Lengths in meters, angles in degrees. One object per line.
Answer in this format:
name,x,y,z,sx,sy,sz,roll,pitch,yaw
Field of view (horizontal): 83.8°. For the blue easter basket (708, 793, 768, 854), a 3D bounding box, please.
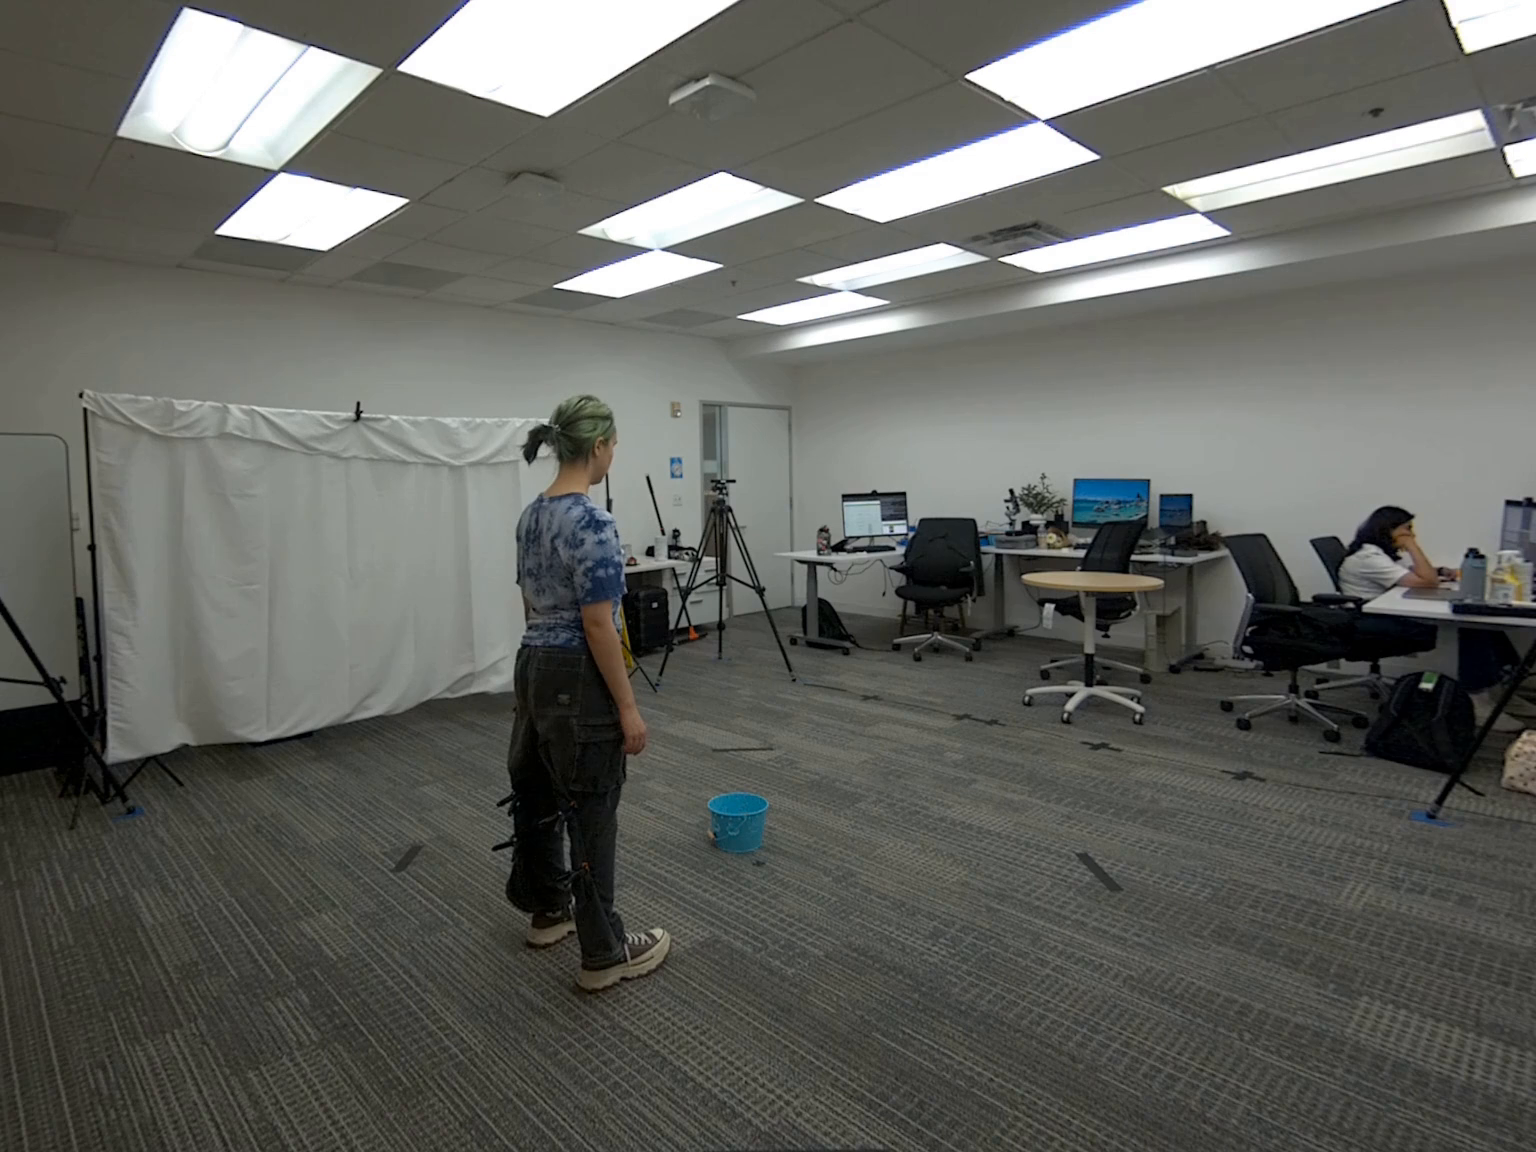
blue easter basket,-0.117,0.949,3.293,0.243,0.155,0.245,-1,5,-2
